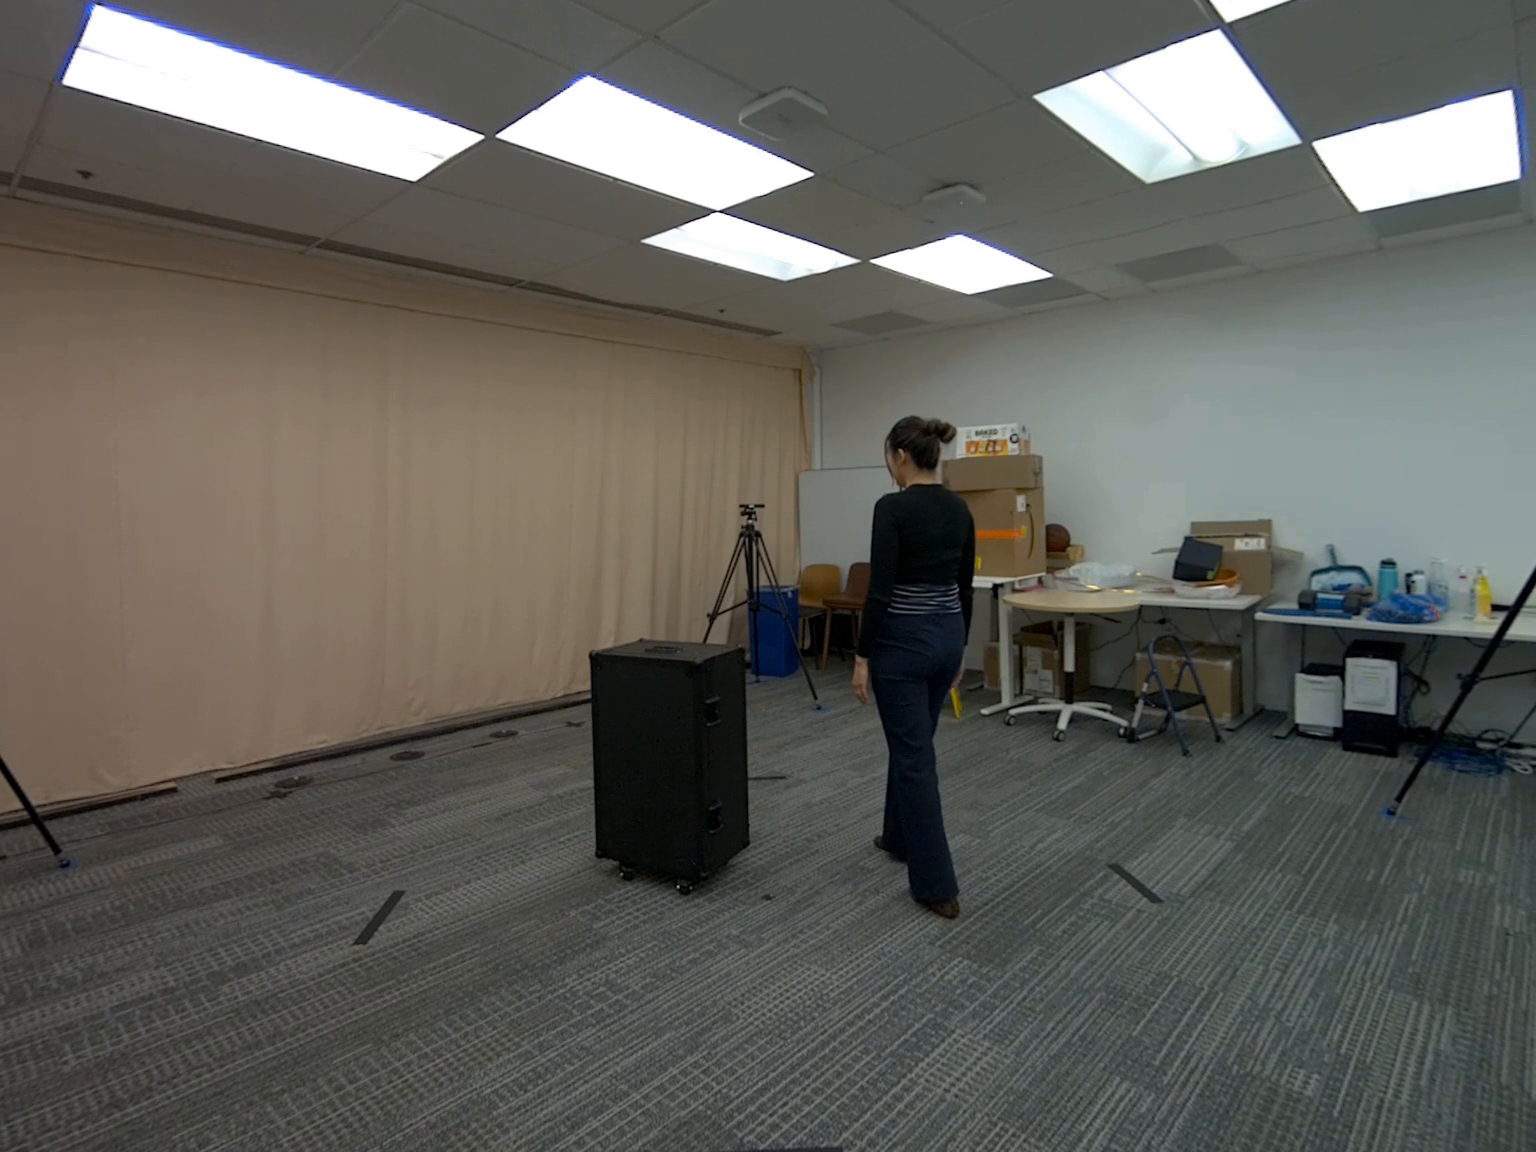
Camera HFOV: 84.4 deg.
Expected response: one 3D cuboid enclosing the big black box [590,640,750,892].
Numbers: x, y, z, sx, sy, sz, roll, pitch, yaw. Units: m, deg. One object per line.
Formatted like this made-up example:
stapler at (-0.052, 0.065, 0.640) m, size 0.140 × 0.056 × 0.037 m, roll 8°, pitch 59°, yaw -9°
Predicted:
big black box at (-0.373, 0.705, 3.232) m, size 0.535 × 0.860 × 0.386 m, roll 0°, pitch 2°, yaw 28°
